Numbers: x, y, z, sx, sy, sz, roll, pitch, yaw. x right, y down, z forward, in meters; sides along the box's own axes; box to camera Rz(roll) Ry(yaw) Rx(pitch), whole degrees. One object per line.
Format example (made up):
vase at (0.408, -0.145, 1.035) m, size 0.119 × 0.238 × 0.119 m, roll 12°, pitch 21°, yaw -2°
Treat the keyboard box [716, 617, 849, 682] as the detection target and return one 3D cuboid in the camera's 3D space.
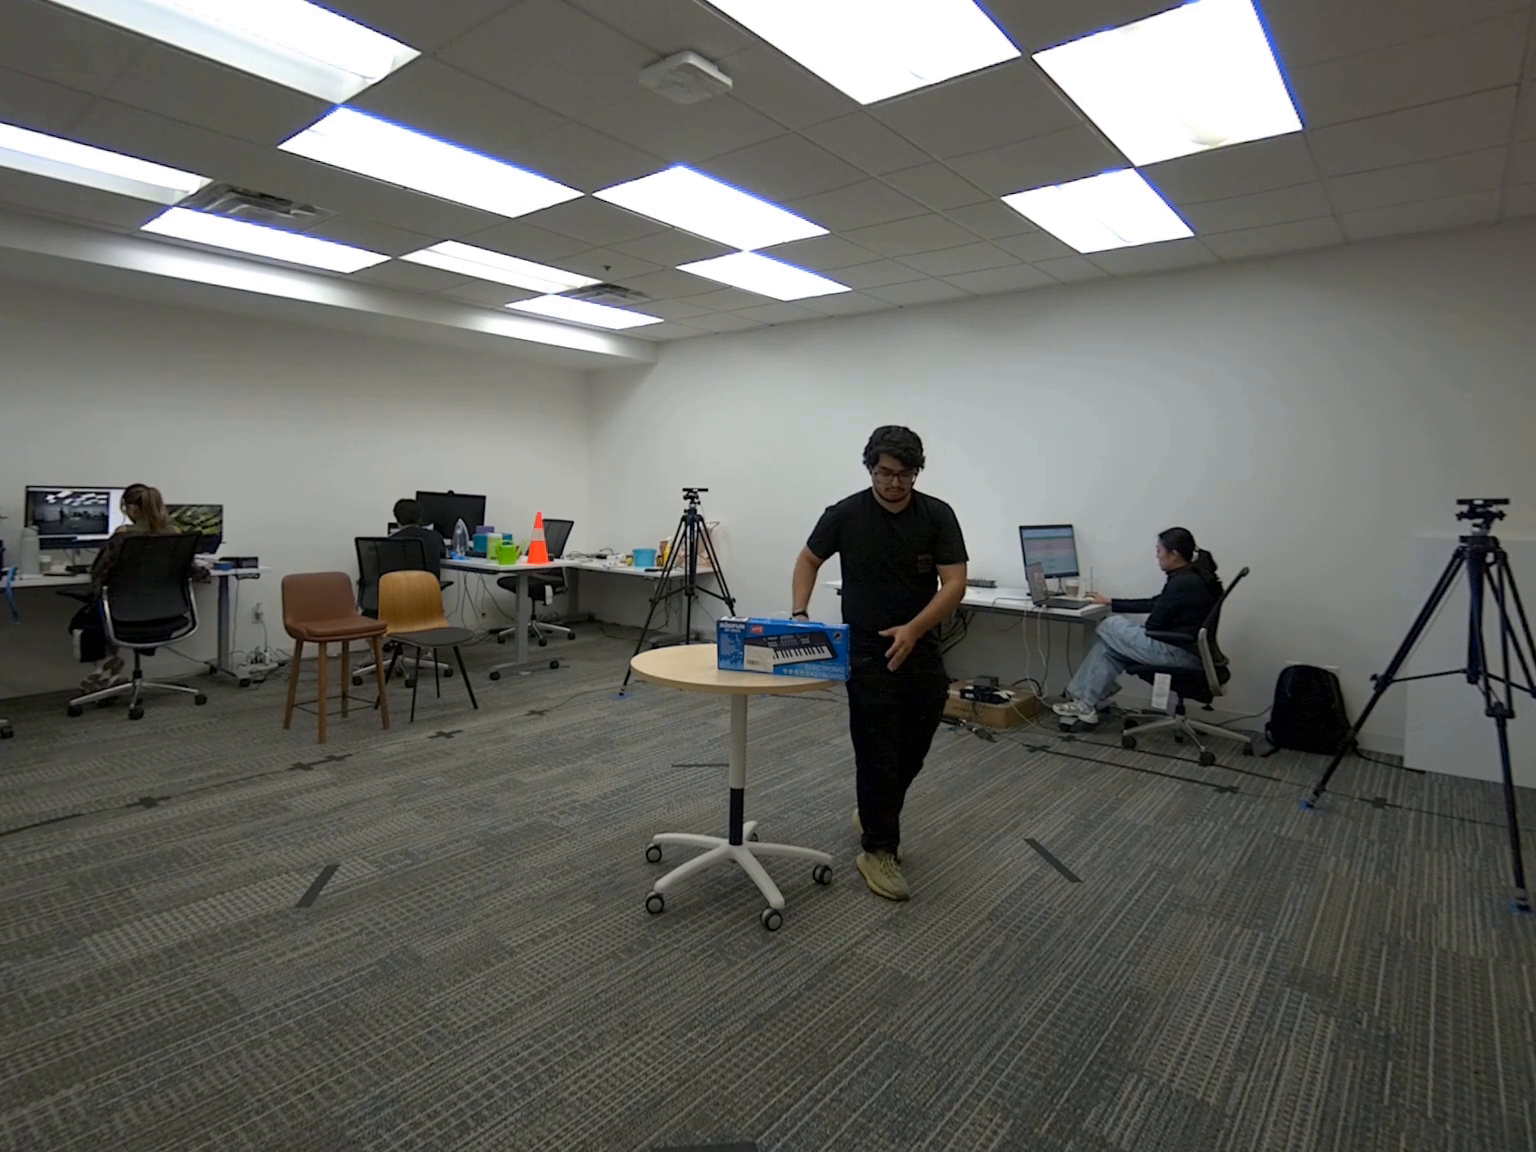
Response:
keyboard box at (0.042, 0.233, 2.794) m, size 0.446 × 0.174 × 0.058 m, roll 3°, pitch 9°, yaw 20°
